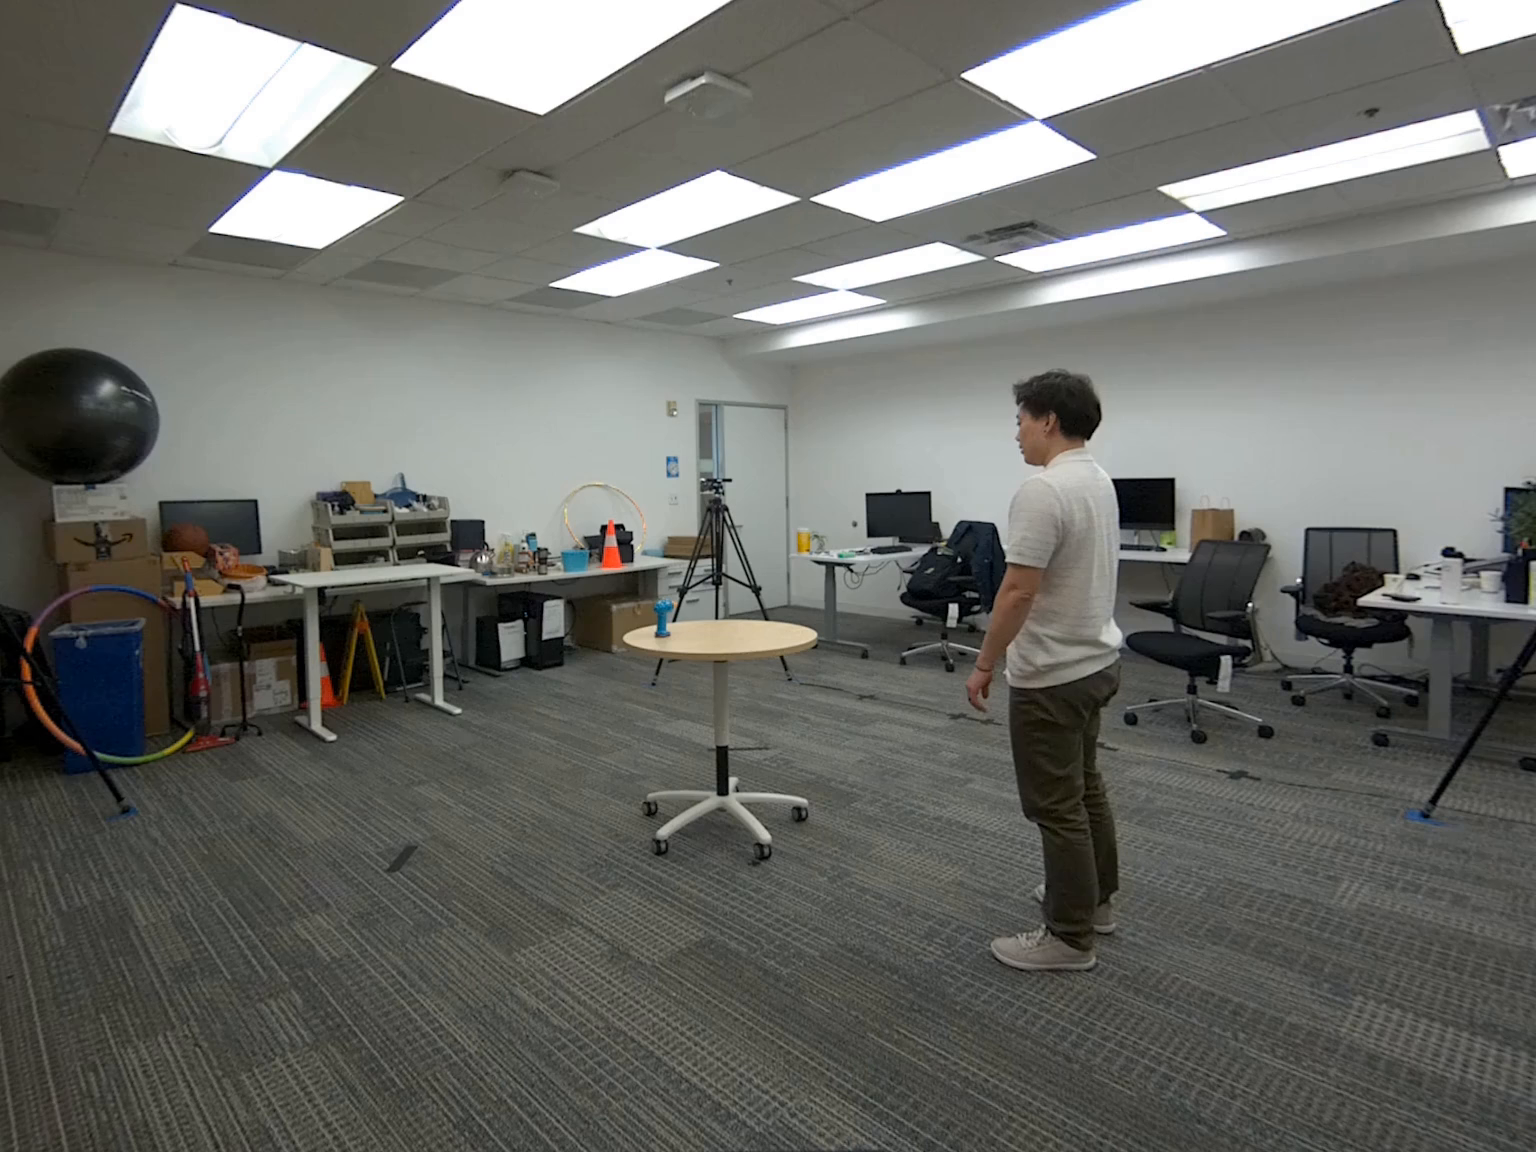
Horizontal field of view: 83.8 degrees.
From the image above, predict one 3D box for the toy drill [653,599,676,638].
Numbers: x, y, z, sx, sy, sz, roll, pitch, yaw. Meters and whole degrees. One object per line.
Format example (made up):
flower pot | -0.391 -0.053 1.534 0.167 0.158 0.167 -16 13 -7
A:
toy drill | -0.406 0.161 3.395 0.062 0.145 0.167 3 6 16
